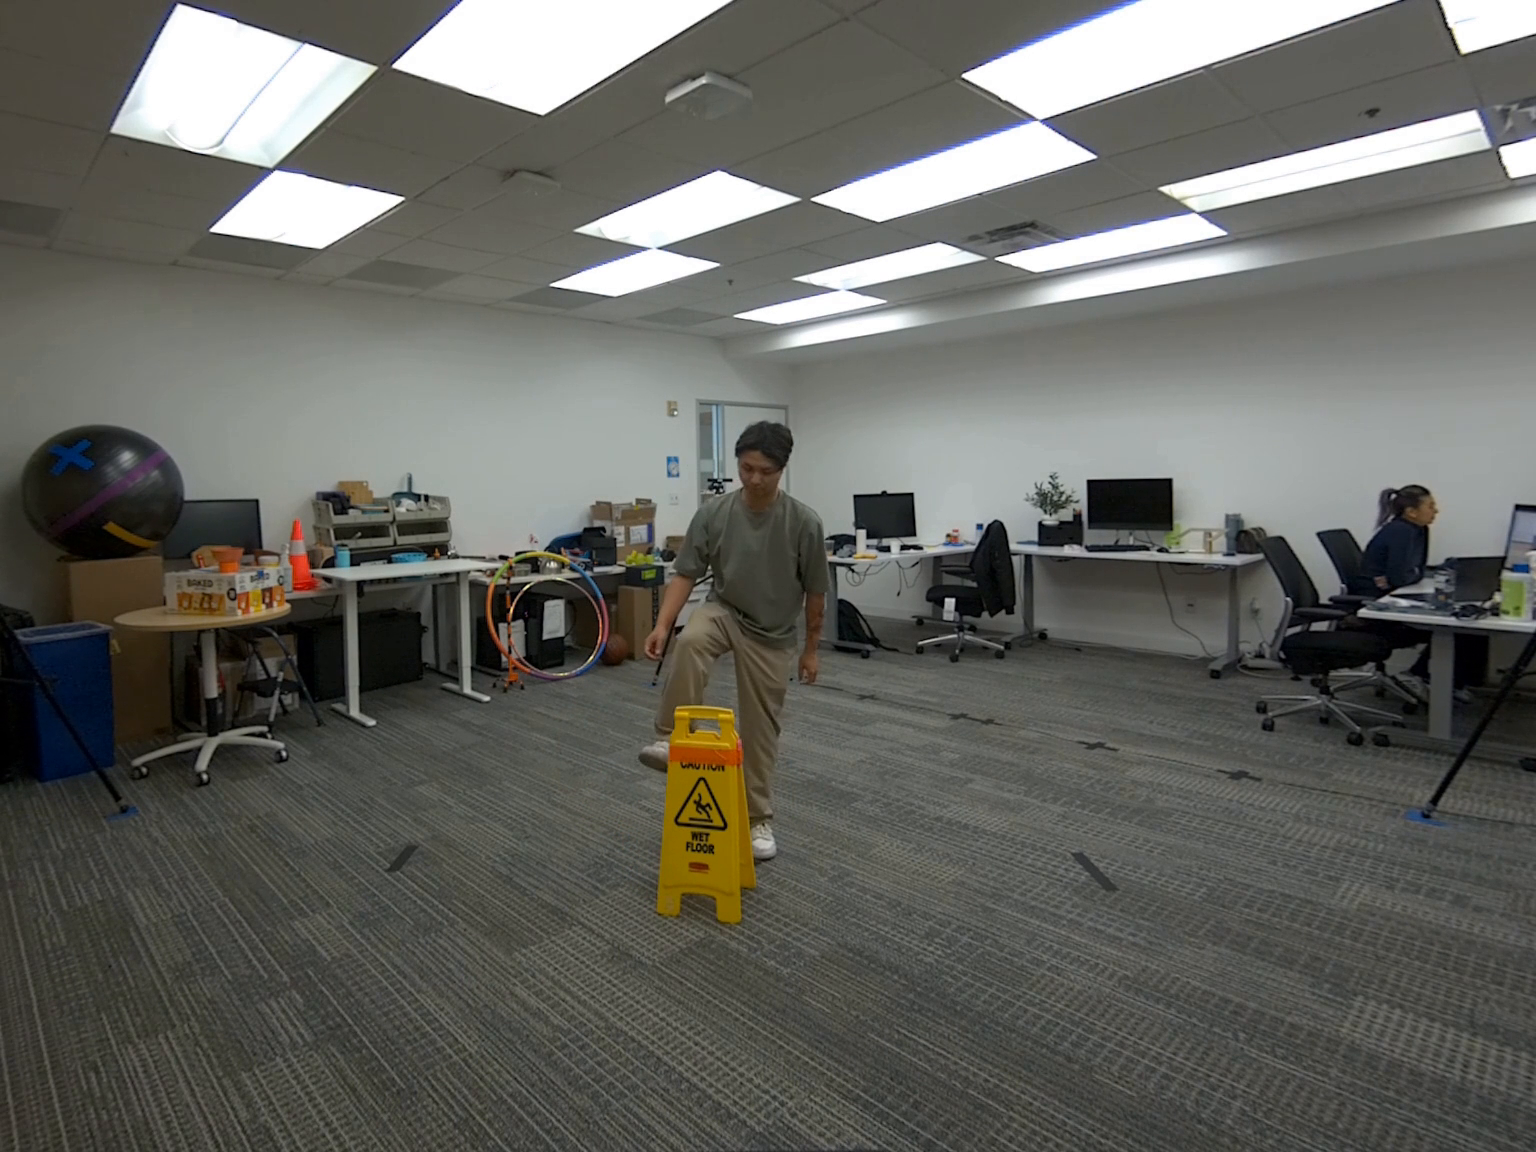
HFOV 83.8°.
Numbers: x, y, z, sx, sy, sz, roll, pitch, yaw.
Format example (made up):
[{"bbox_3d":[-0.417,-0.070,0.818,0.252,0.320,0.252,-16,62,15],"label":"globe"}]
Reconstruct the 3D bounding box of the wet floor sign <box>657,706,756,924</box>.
[{"bbox_3d":[-0.198,0.759,2.813,0.286,0.643,0.288,-1,5,12],"label":"wet floor sign"}]
